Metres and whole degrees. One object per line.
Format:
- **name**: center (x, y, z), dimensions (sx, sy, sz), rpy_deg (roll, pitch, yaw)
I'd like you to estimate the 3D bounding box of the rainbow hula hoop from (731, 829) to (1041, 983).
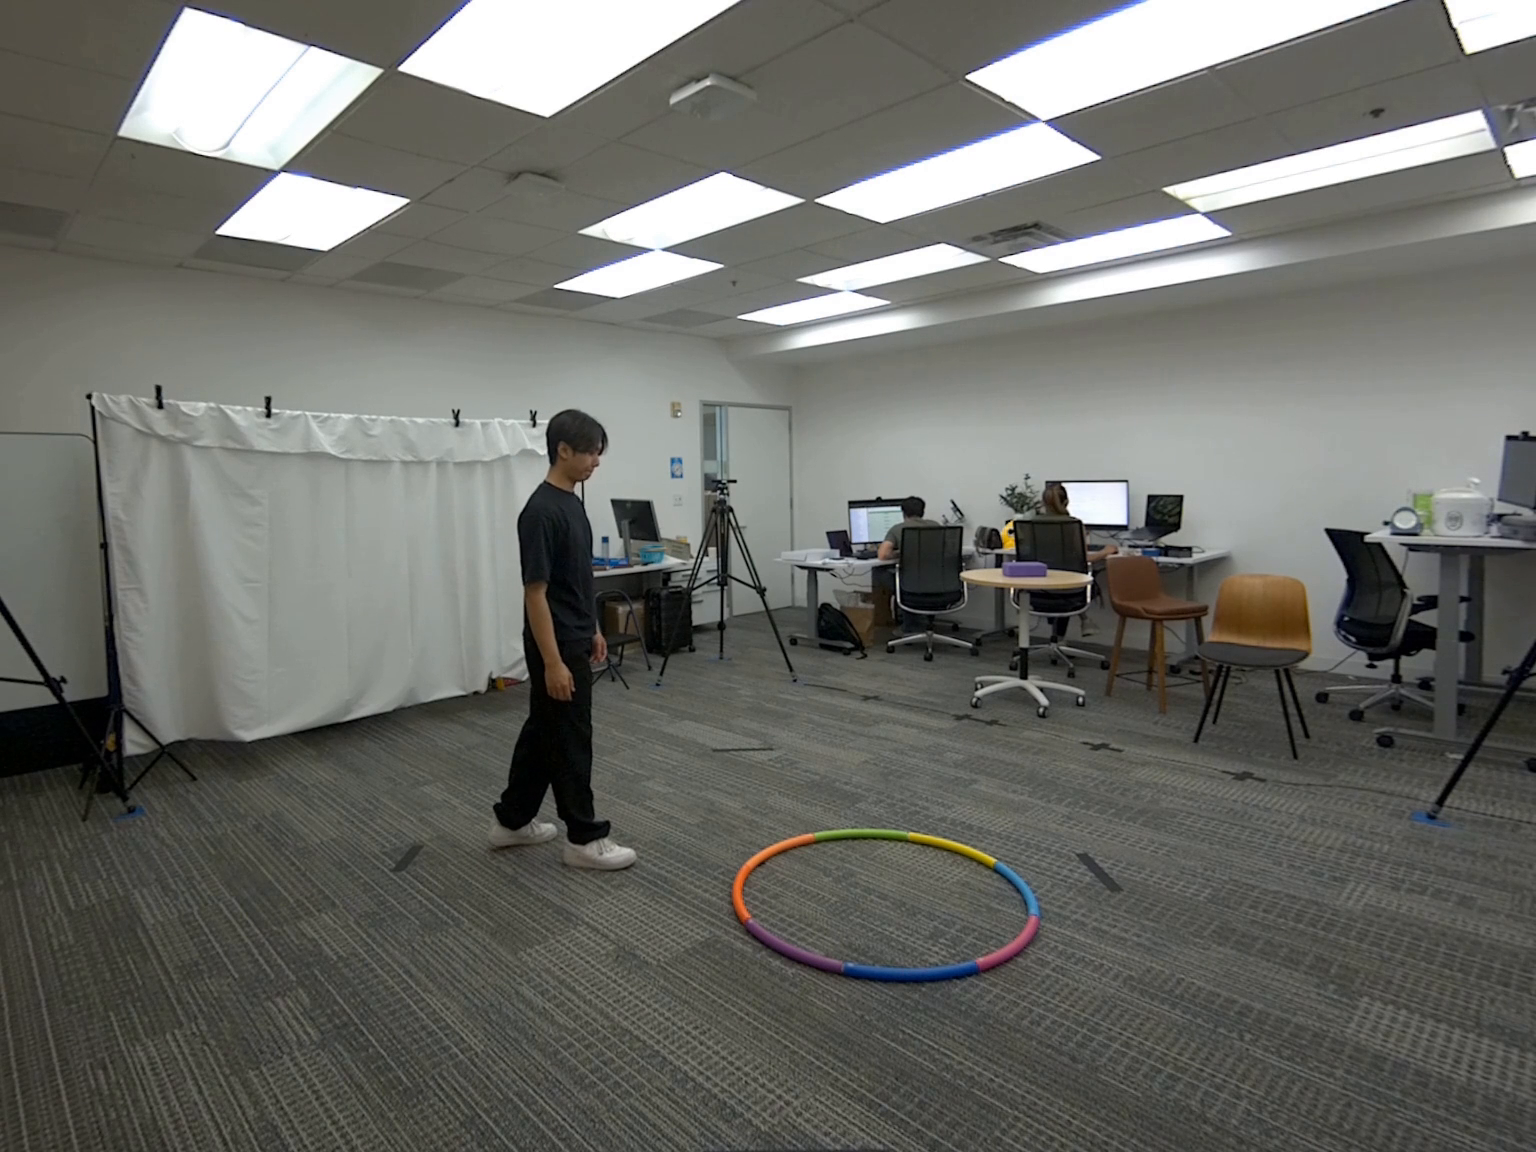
- **rainbow hula hoop**: center (0.372, 1.040, 2.845), dimensions (0.978, 0.035, 0.984), rpy_deg (-2, 7, -2)
